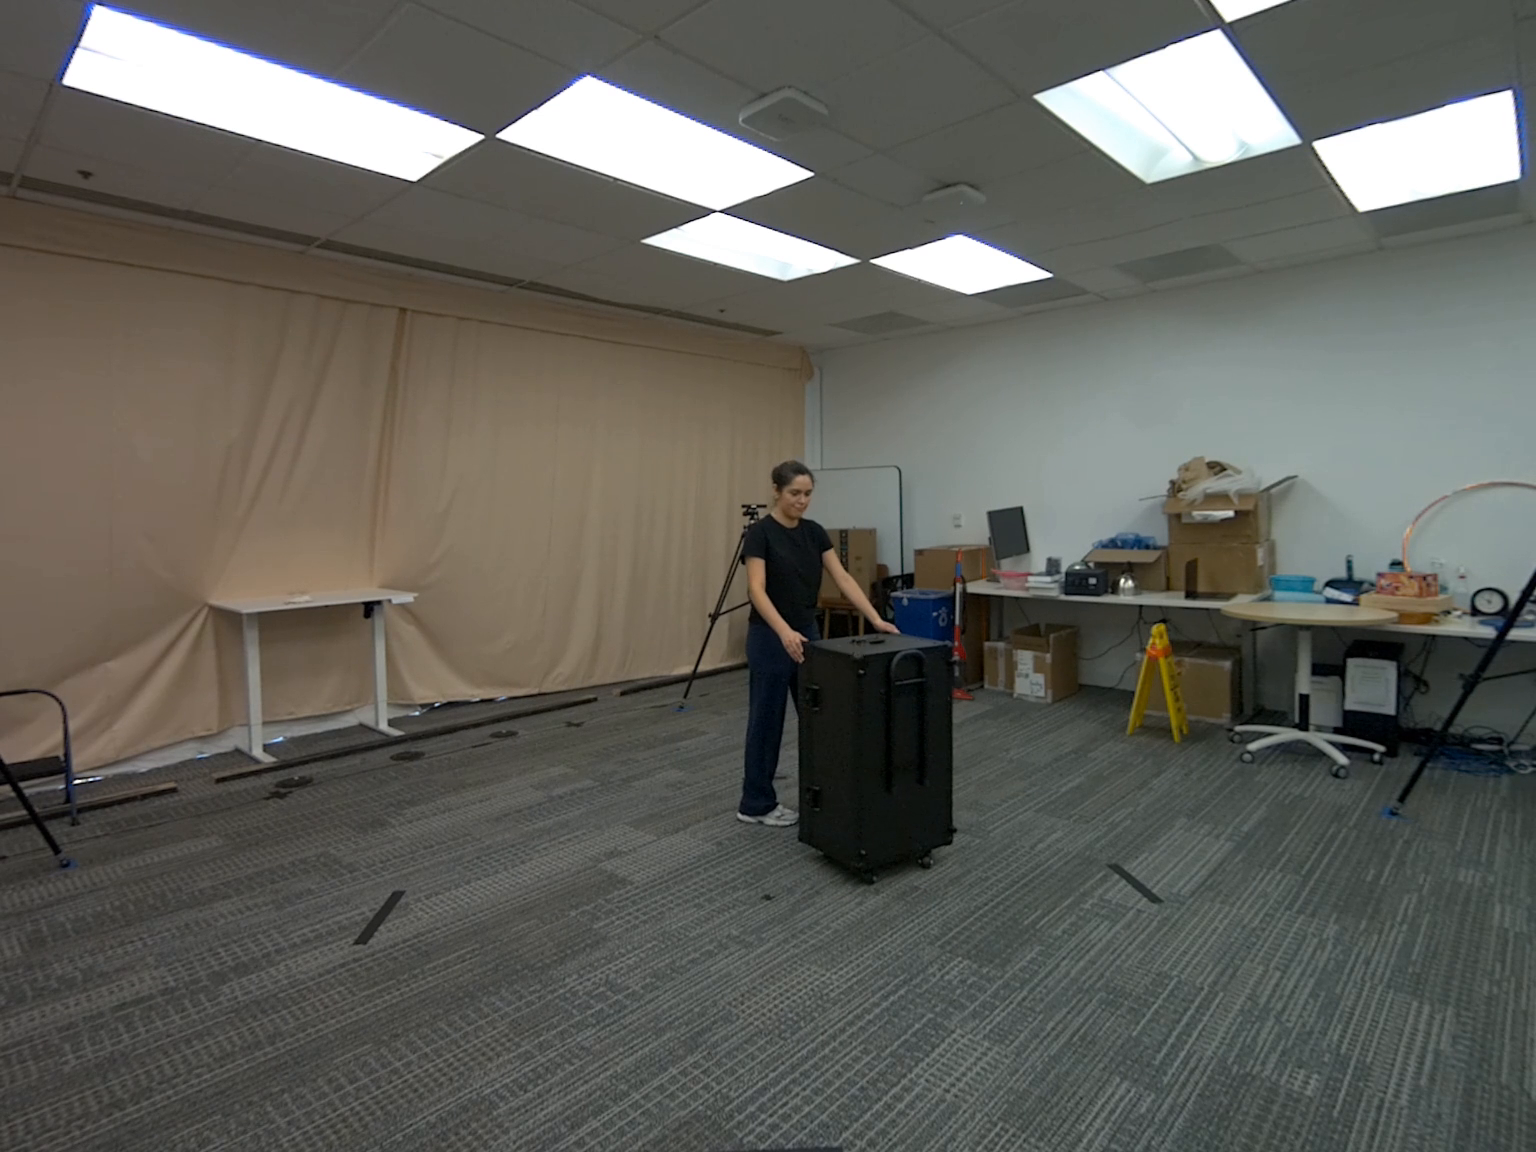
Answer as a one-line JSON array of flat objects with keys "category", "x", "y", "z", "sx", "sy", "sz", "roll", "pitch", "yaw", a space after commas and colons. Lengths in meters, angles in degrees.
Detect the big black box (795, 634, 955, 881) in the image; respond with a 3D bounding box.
[{"category": "big black box", "x": 0.441, "y": 0.680, "z": 3.260, "sx": 0.507, "sy": 0.859, "sz": 0.408, "roll": -3, "pitch": 4, "yaw": -33}]
